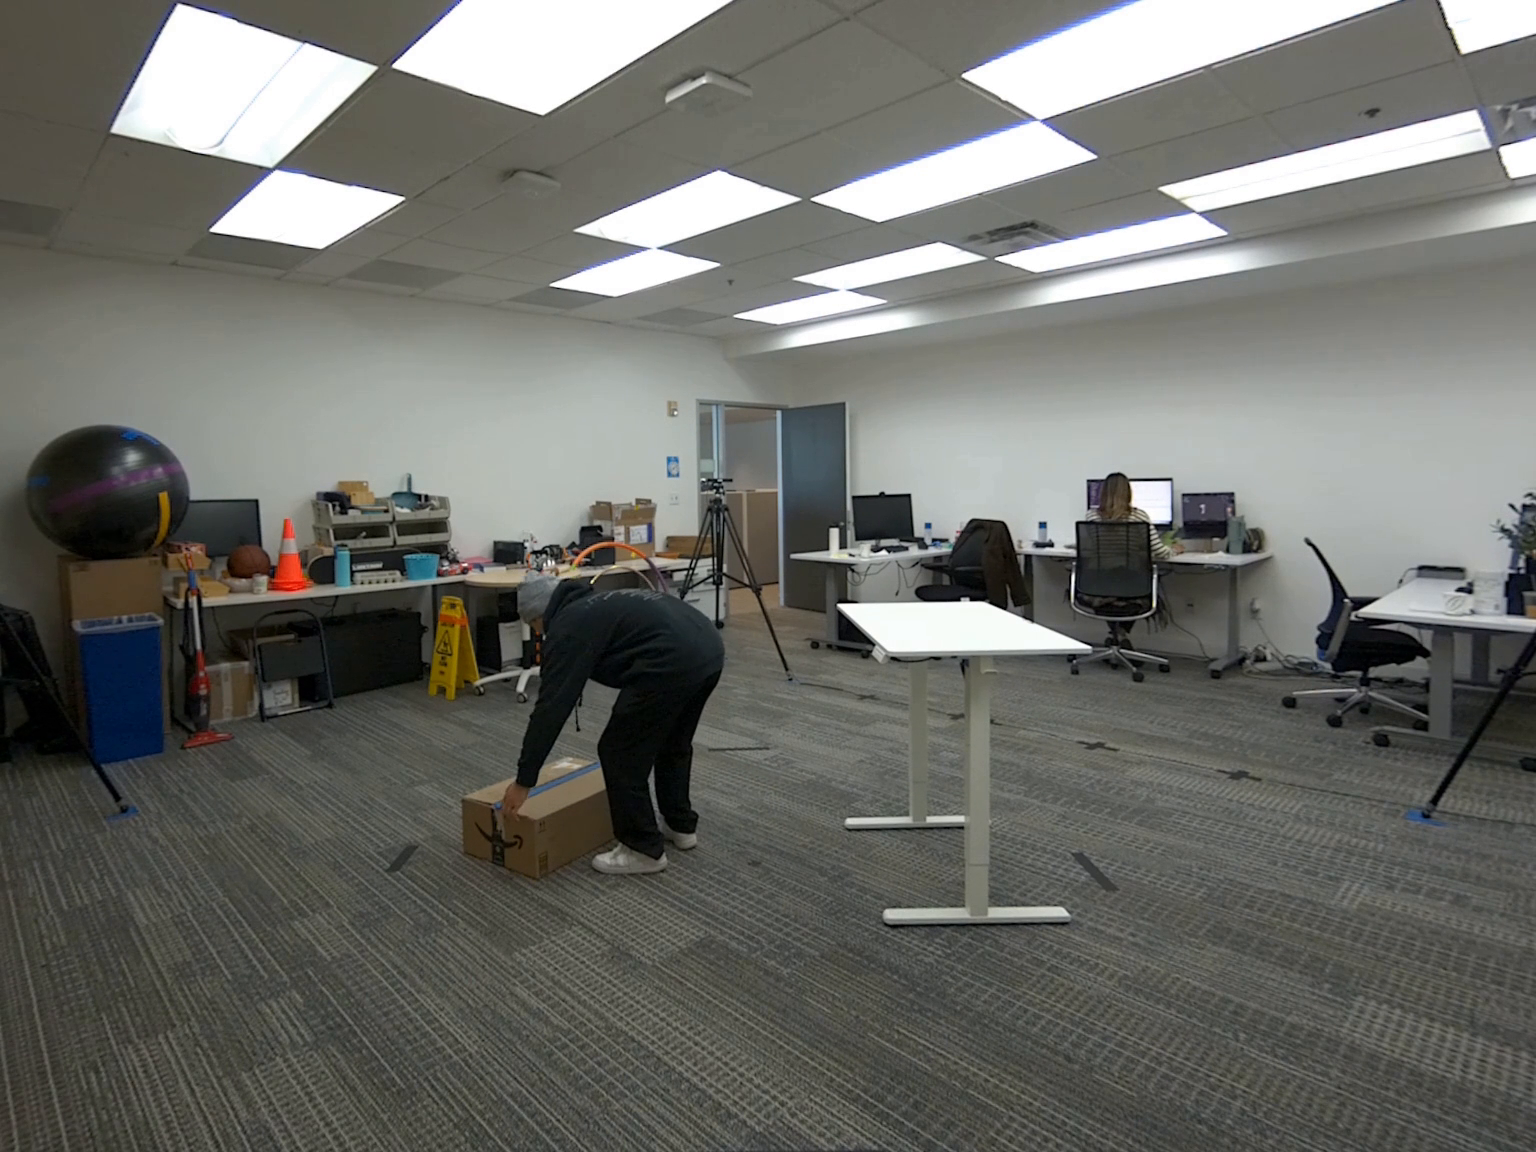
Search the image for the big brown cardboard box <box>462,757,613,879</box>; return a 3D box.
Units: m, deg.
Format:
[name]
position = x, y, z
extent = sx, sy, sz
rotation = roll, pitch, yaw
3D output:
[big brown cardboard box]
position = -0.832, 0.918, 3.350
extent = 0.429, 0.232, 0.576
rotation = 2, 7, 32
